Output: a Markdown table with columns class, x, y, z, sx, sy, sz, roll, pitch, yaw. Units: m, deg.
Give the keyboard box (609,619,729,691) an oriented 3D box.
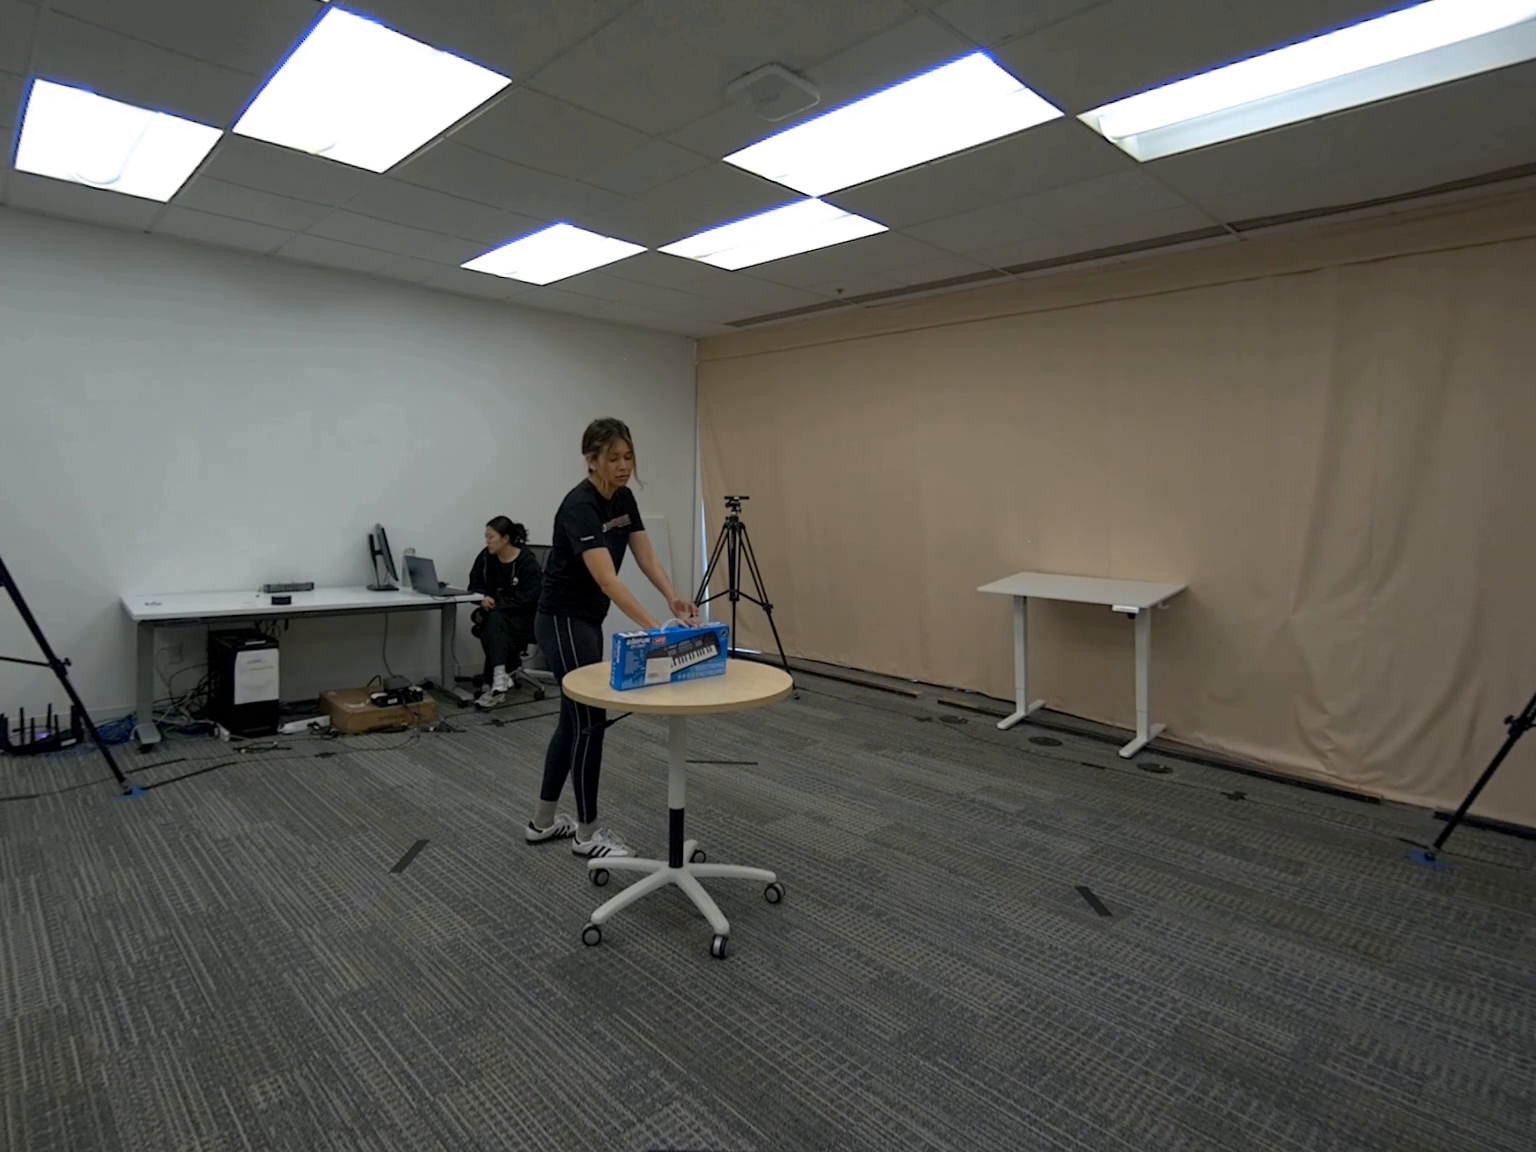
| class | x | y | z | sx | sy | sz | roll | pitch | yaw |
| --- | --- | --- | --- | --- | --- | --- | --- | --- | --- |
| keyboard box | -0.320 | 0.262 | 2.757 | 0.427 | 0.175 | 0.061 | -4 | 10 | -43 |
